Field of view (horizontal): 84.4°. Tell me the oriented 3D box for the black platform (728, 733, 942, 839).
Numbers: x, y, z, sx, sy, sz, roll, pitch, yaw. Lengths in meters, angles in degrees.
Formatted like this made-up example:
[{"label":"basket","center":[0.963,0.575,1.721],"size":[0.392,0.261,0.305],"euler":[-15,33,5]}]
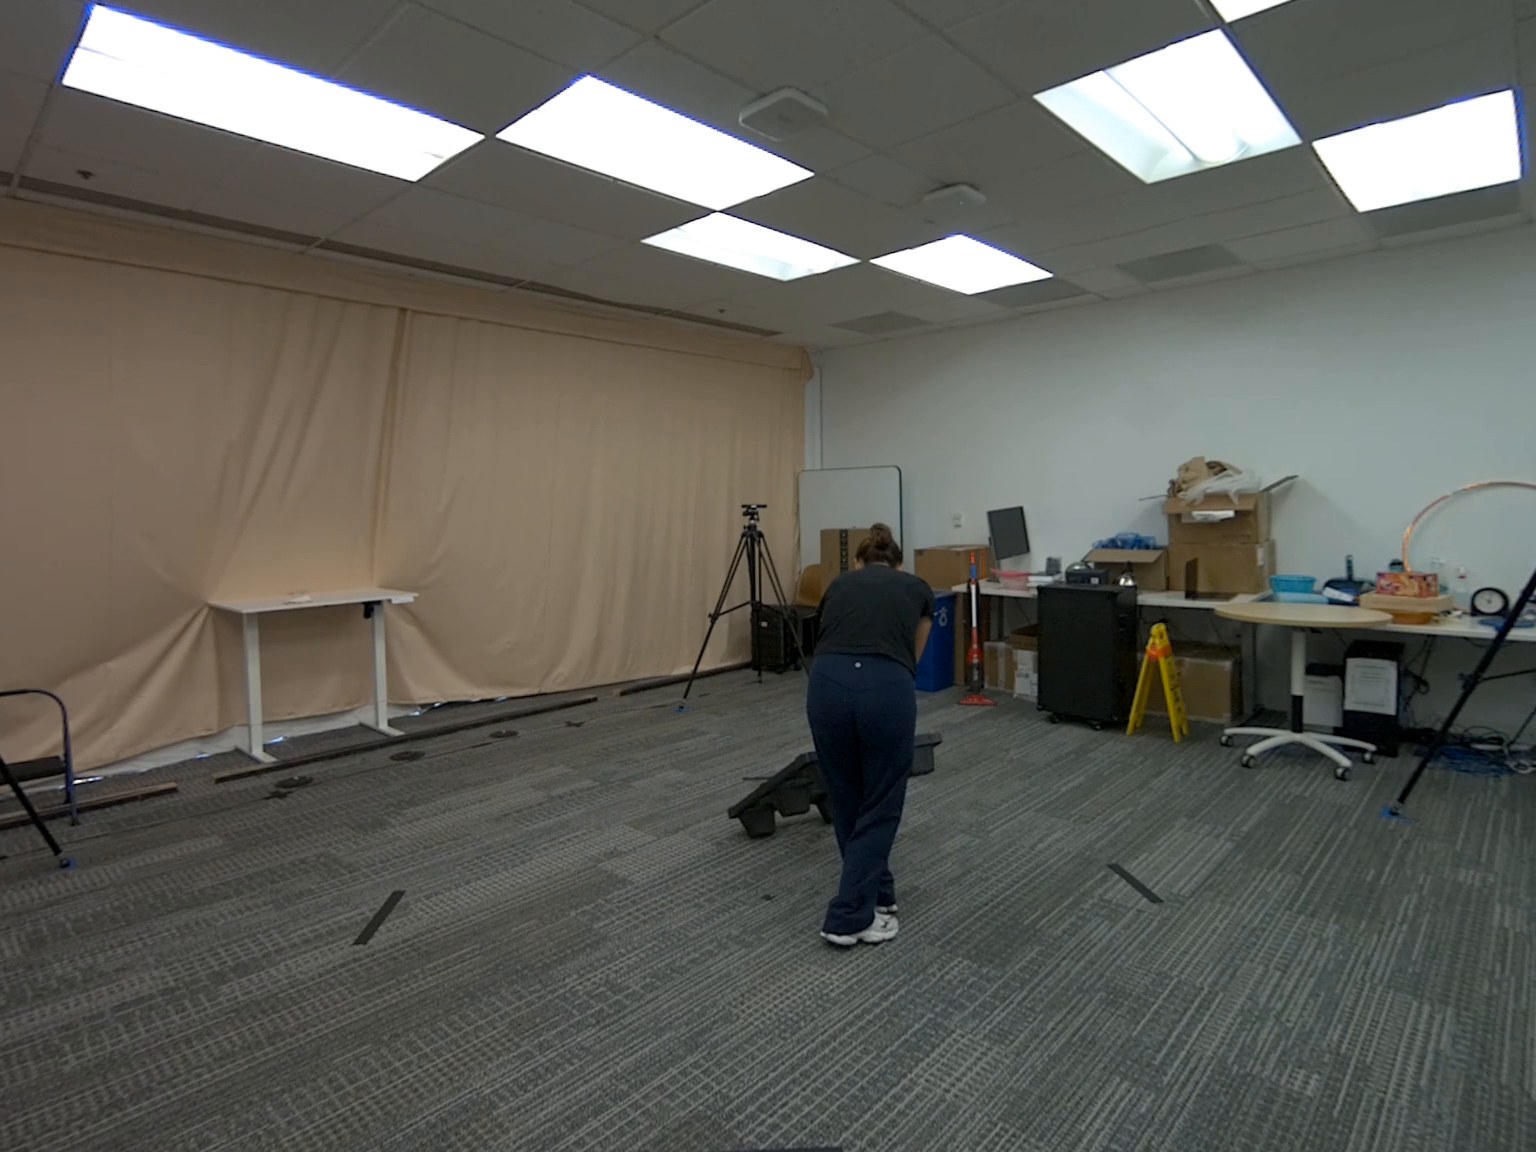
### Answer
[{"label":"black platform","center":[0.268,0.848,3.347],"size":[0.591,0.146,0.808],"euler":[-3,-28,-26]}]
